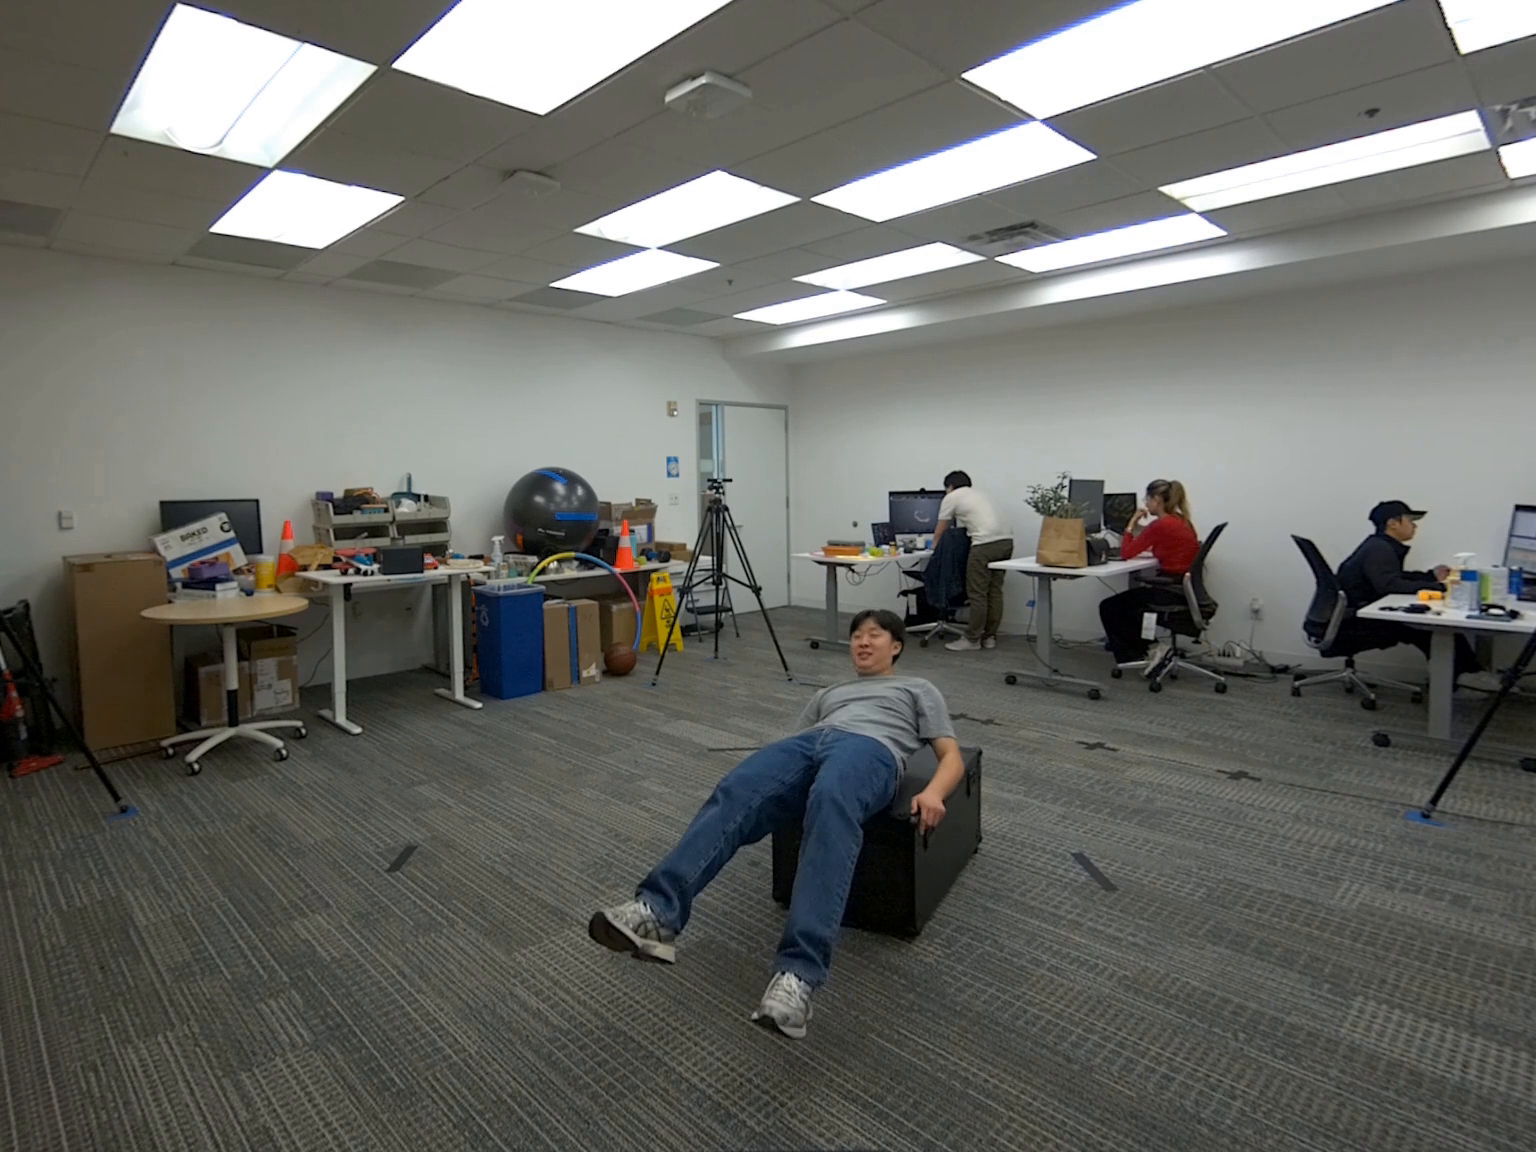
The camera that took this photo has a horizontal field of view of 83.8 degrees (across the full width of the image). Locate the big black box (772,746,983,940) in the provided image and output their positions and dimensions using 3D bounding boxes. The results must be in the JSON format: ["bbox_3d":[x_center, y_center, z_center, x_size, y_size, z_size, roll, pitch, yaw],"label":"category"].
[{"bbox_3d":[0.427,0.862,3.013,0.534,0.394,0.844,1,7,29],"label":"big black box"}]
